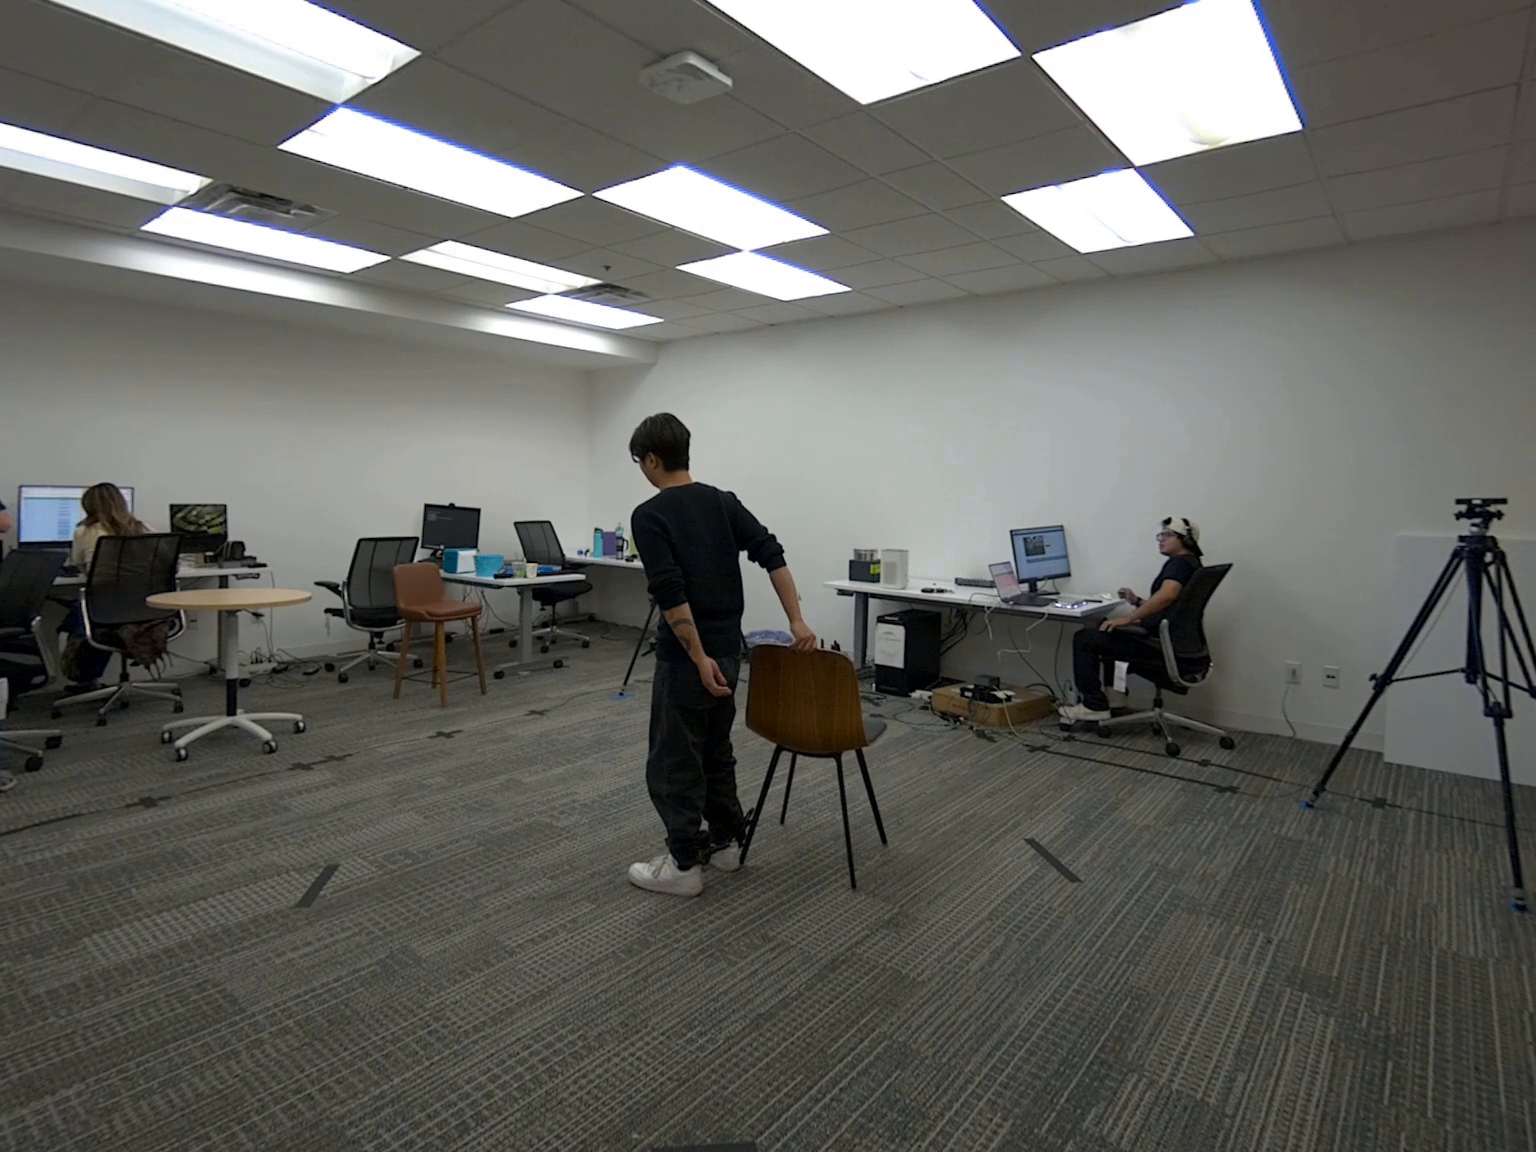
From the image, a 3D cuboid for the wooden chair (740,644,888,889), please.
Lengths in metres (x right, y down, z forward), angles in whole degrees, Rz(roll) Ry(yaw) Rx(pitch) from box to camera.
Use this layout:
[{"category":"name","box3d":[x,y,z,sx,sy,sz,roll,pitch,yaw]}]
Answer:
[{"category":"wooden chair","box3d":[0.180,0.637,3.249,0.490,0.872,0.514,2,8,23]}]
